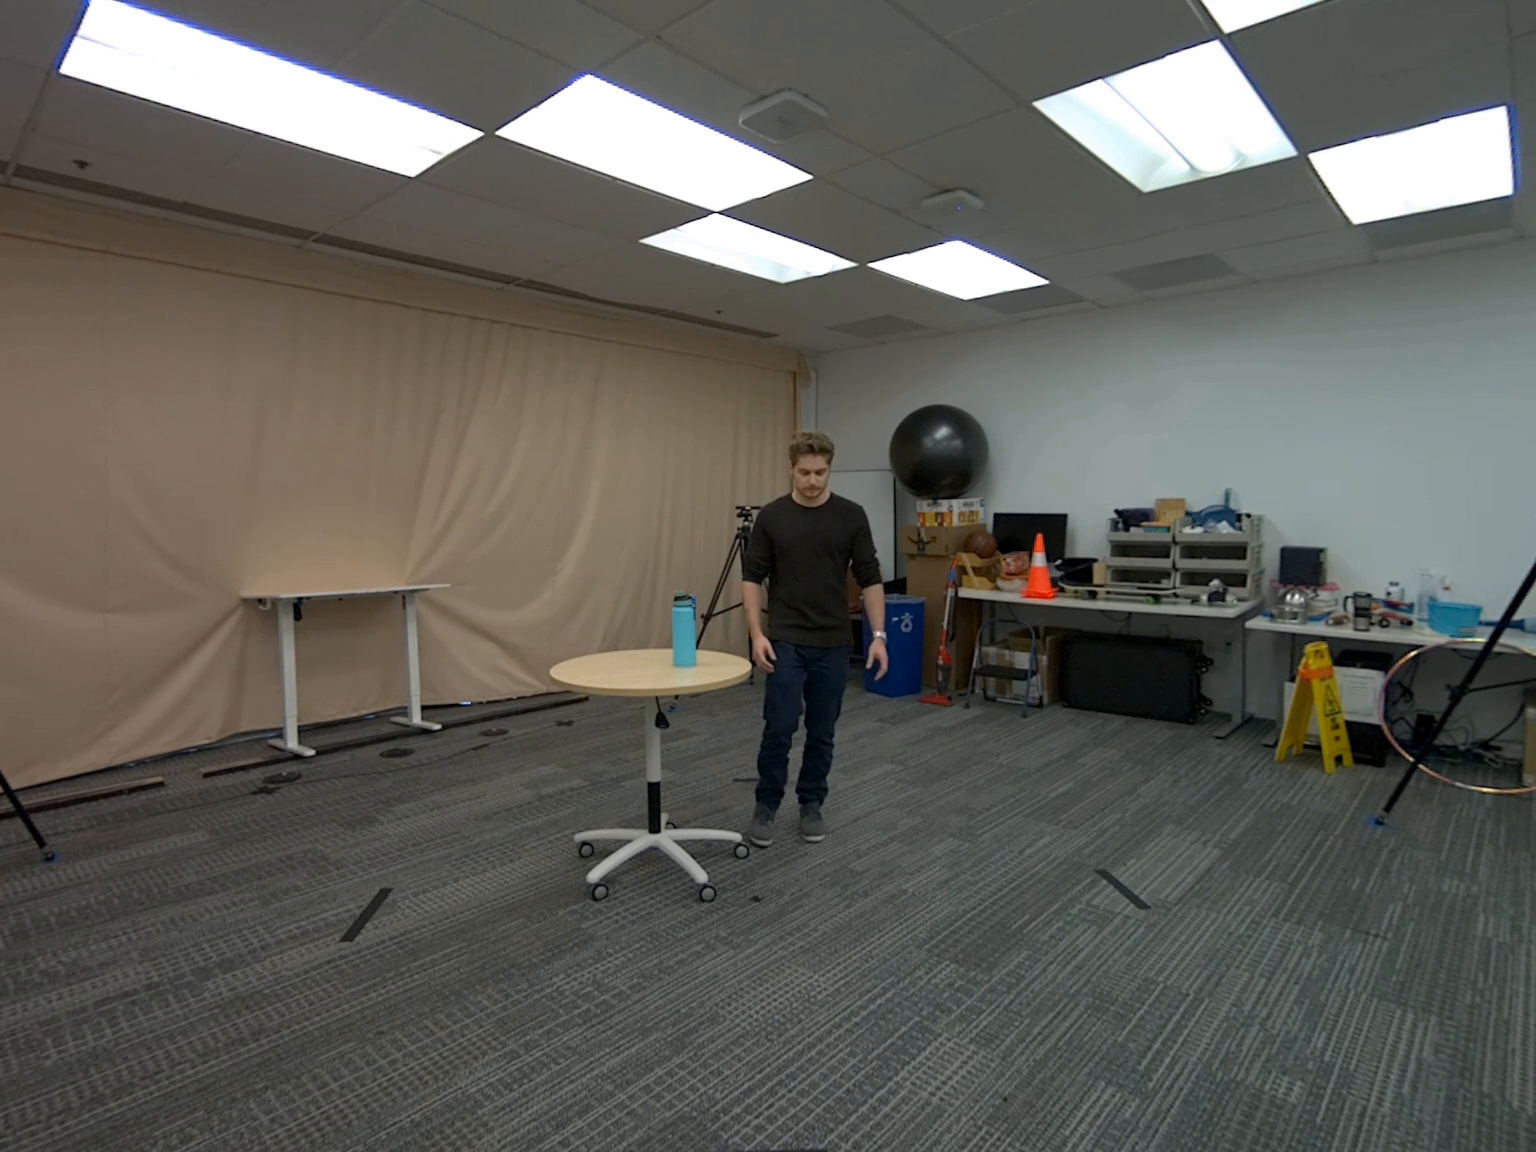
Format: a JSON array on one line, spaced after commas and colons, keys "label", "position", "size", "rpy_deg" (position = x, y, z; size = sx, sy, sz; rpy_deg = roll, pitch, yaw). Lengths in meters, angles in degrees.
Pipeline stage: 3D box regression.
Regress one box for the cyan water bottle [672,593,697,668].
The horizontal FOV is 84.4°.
[{"label": "cyan water bottle", "position": [-0.318, 0.204, 3.228], "size": [0.092, 0.283, 0.092], "rpy_deg": [2, 2, -2]}]
